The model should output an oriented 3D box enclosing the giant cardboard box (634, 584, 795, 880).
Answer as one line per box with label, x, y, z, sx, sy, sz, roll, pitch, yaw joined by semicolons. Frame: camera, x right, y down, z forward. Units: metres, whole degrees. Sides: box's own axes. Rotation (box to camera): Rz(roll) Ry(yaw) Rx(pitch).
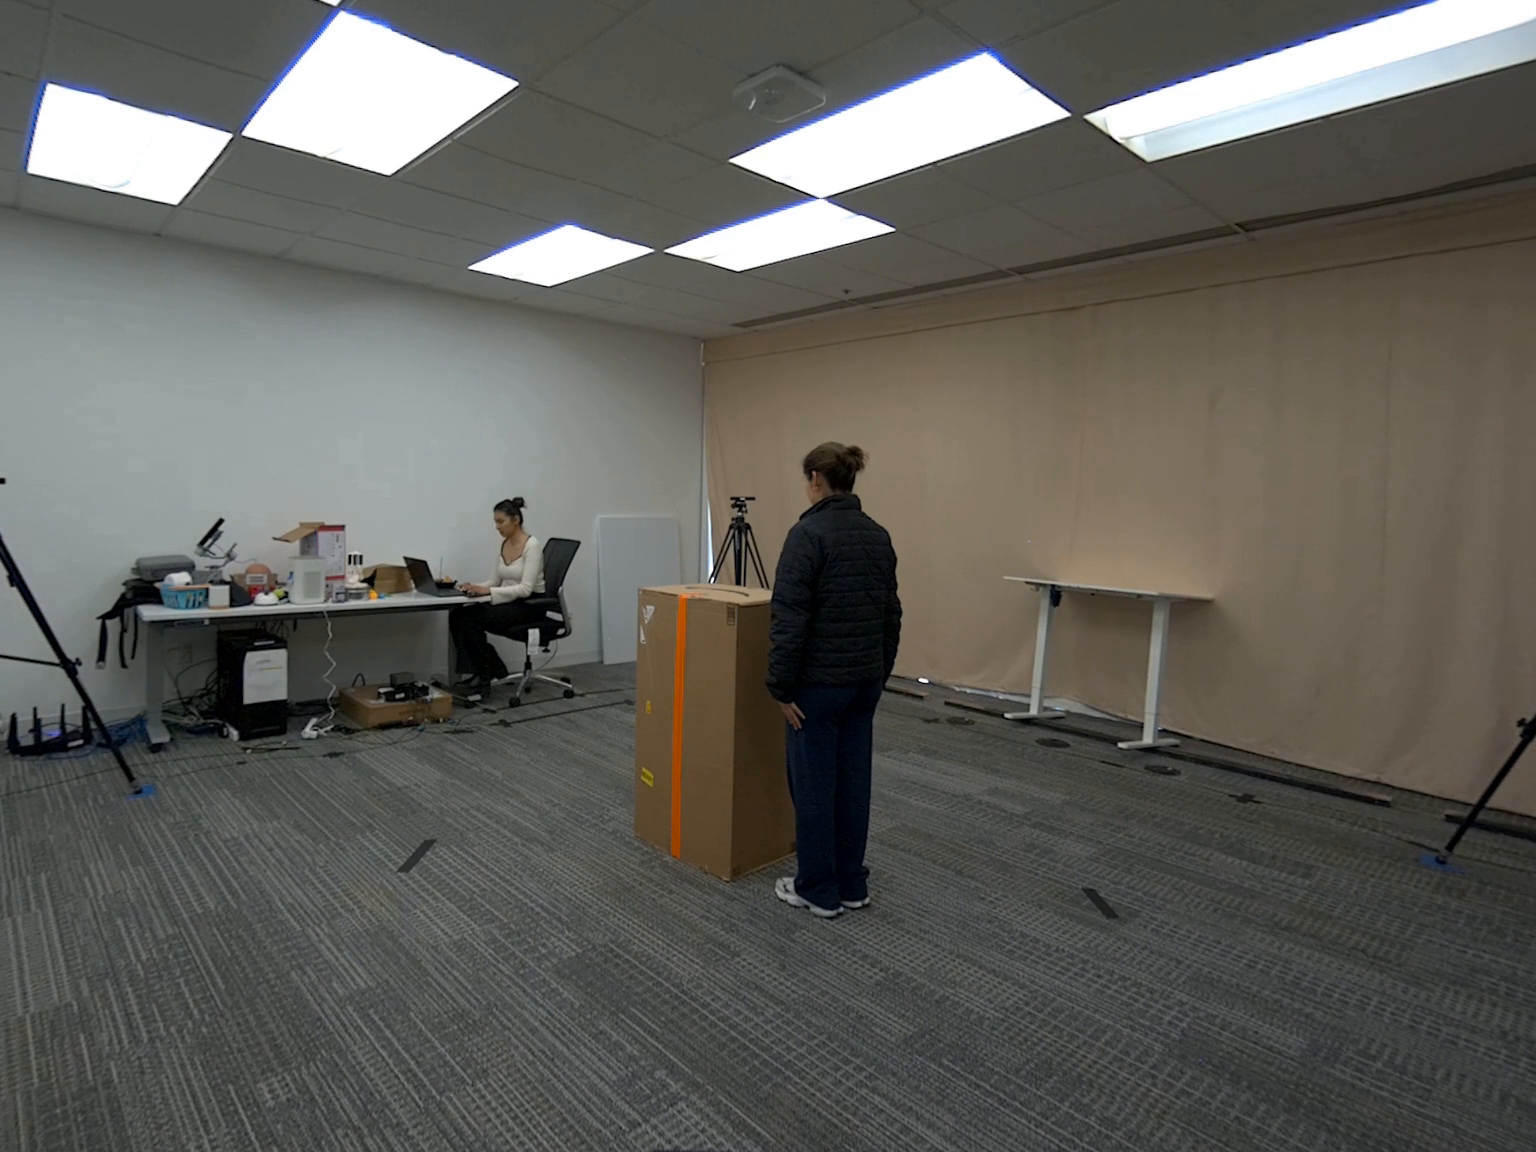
giant cardboard box;-0.197;0.576;3.361;0.416;1.023;0.592;-2;5;-45
